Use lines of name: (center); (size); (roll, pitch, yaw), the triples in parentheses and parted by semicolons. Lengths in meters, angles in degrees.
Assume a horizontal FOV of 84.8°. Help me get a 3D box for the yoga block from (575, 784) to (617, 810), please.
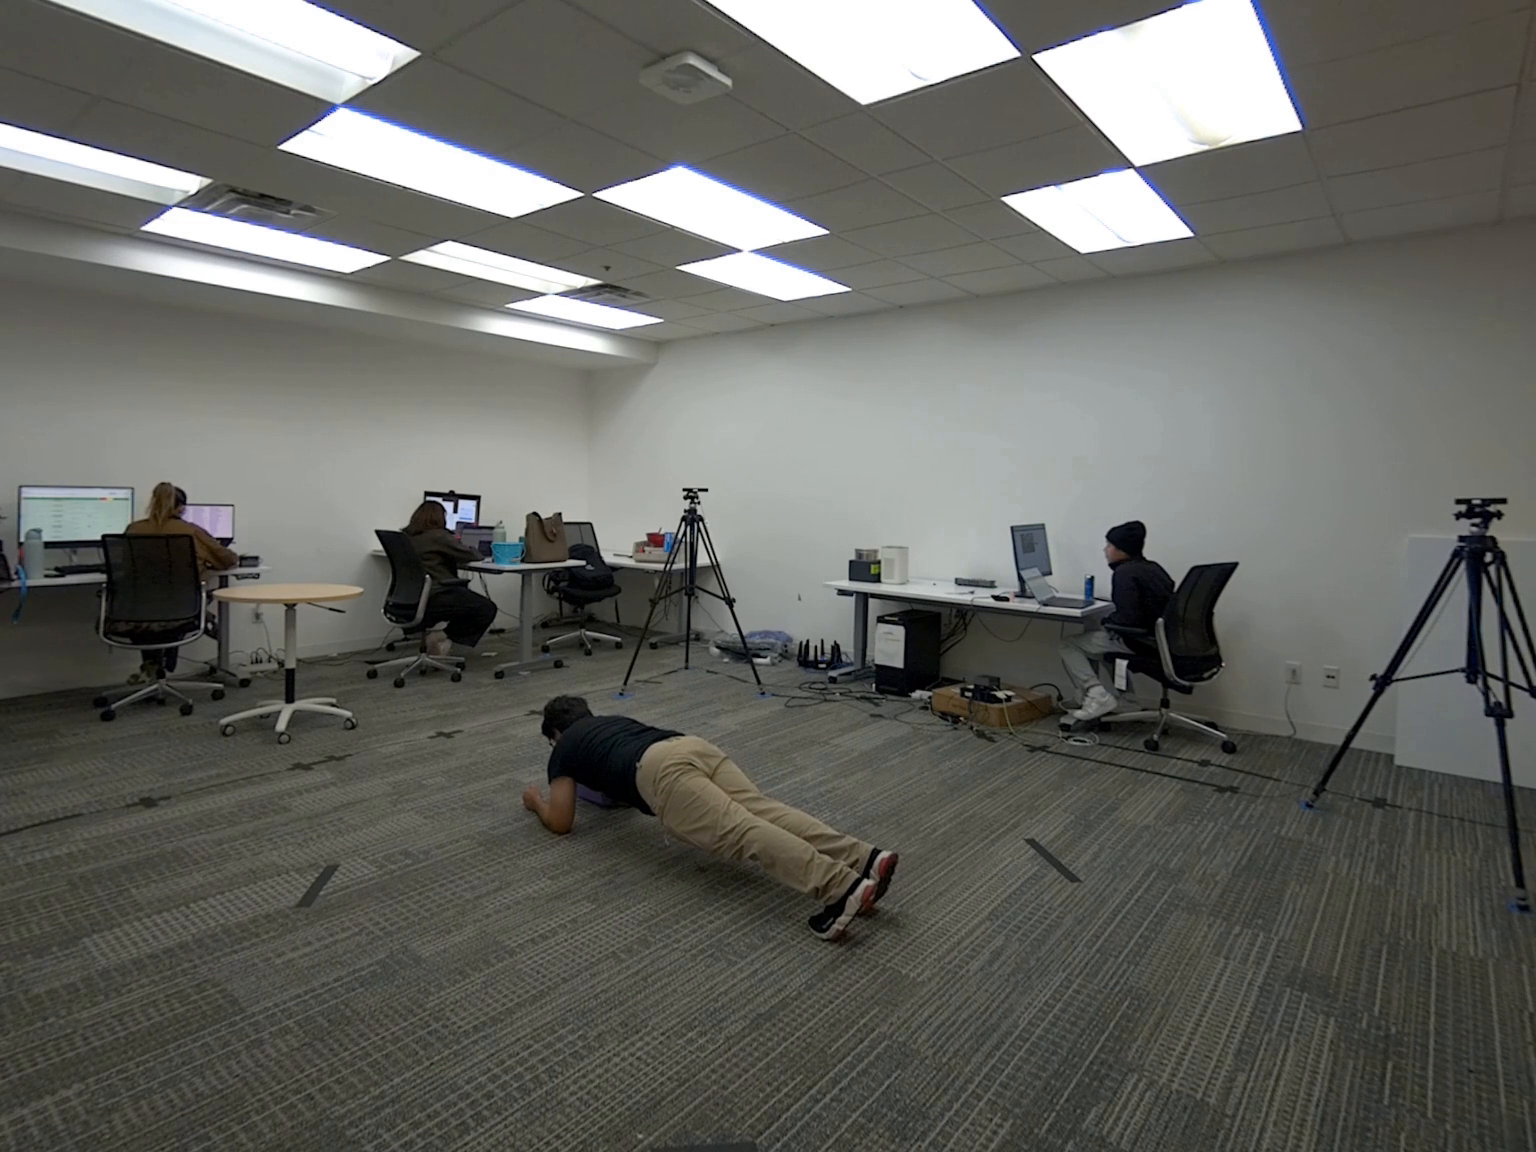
yoga block: (-0.773, 0.905, 3.765); (0.074, 0.148, 0.236); (-12, 7, -44)
